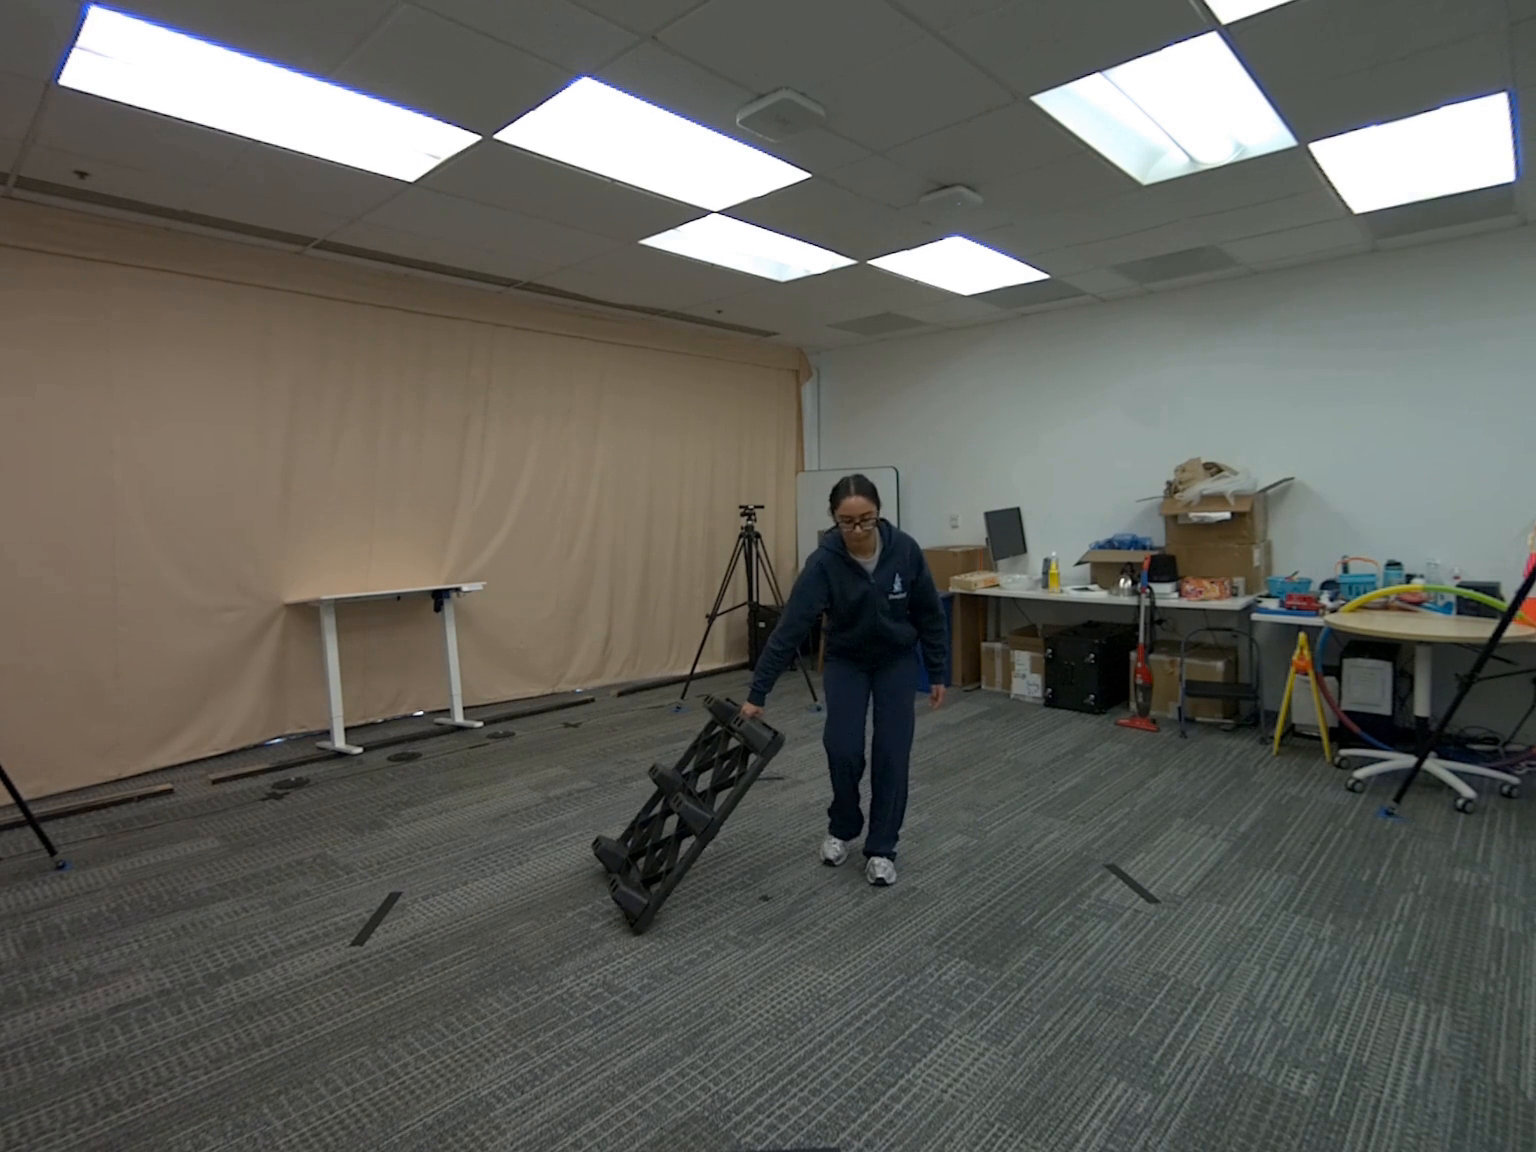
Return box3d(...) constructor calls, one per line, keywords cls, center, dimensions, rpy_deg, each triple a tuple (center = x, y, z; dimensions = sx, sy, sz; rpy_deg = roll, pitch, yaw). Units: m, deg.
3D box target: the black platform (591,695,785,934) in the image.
box3d(cls="black platform", center=(-0.310, 0.809, 3.057), dimensions=(0.141, 0.804, 0.617), rpy_deg=(41, -10, -17))
